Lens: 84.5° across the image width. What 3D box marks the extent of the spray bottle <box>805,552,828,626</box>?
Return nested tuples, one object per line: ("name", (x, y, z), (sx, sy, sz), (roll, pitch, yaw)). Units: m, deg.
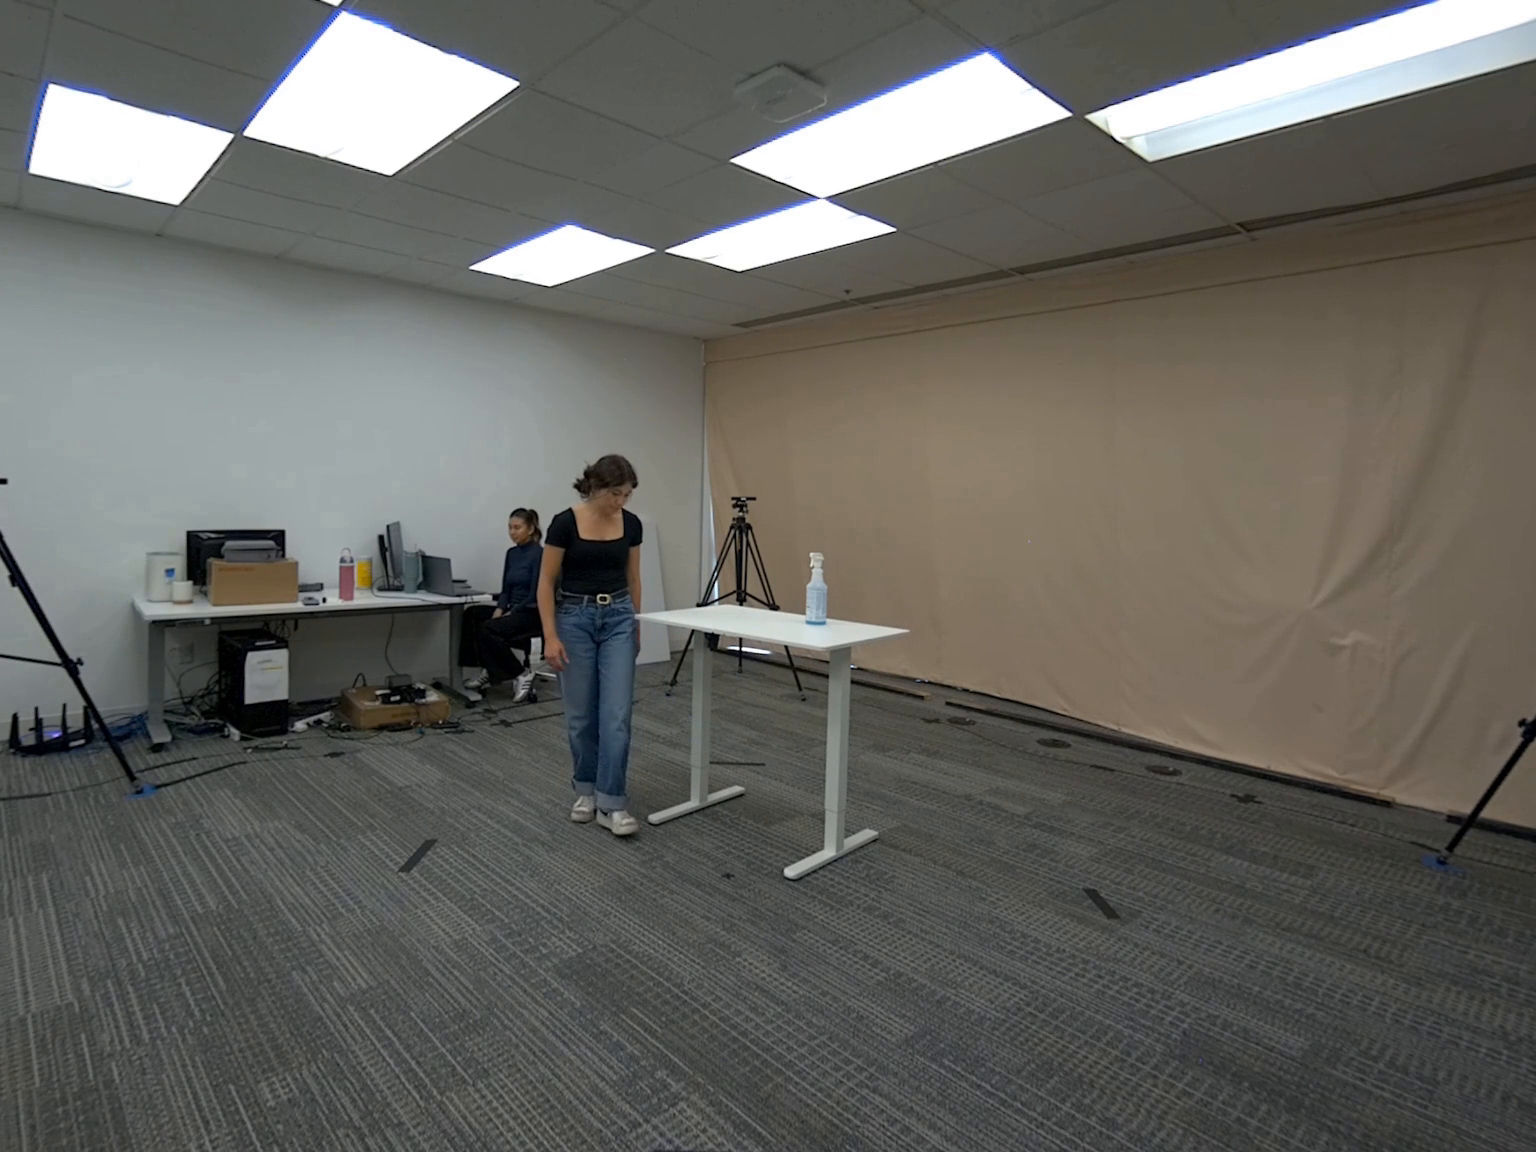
("spray bottle", (0.197, 0.051, 3.498), (0.088, 0.296, 0.089), (-1, 4, -27))
